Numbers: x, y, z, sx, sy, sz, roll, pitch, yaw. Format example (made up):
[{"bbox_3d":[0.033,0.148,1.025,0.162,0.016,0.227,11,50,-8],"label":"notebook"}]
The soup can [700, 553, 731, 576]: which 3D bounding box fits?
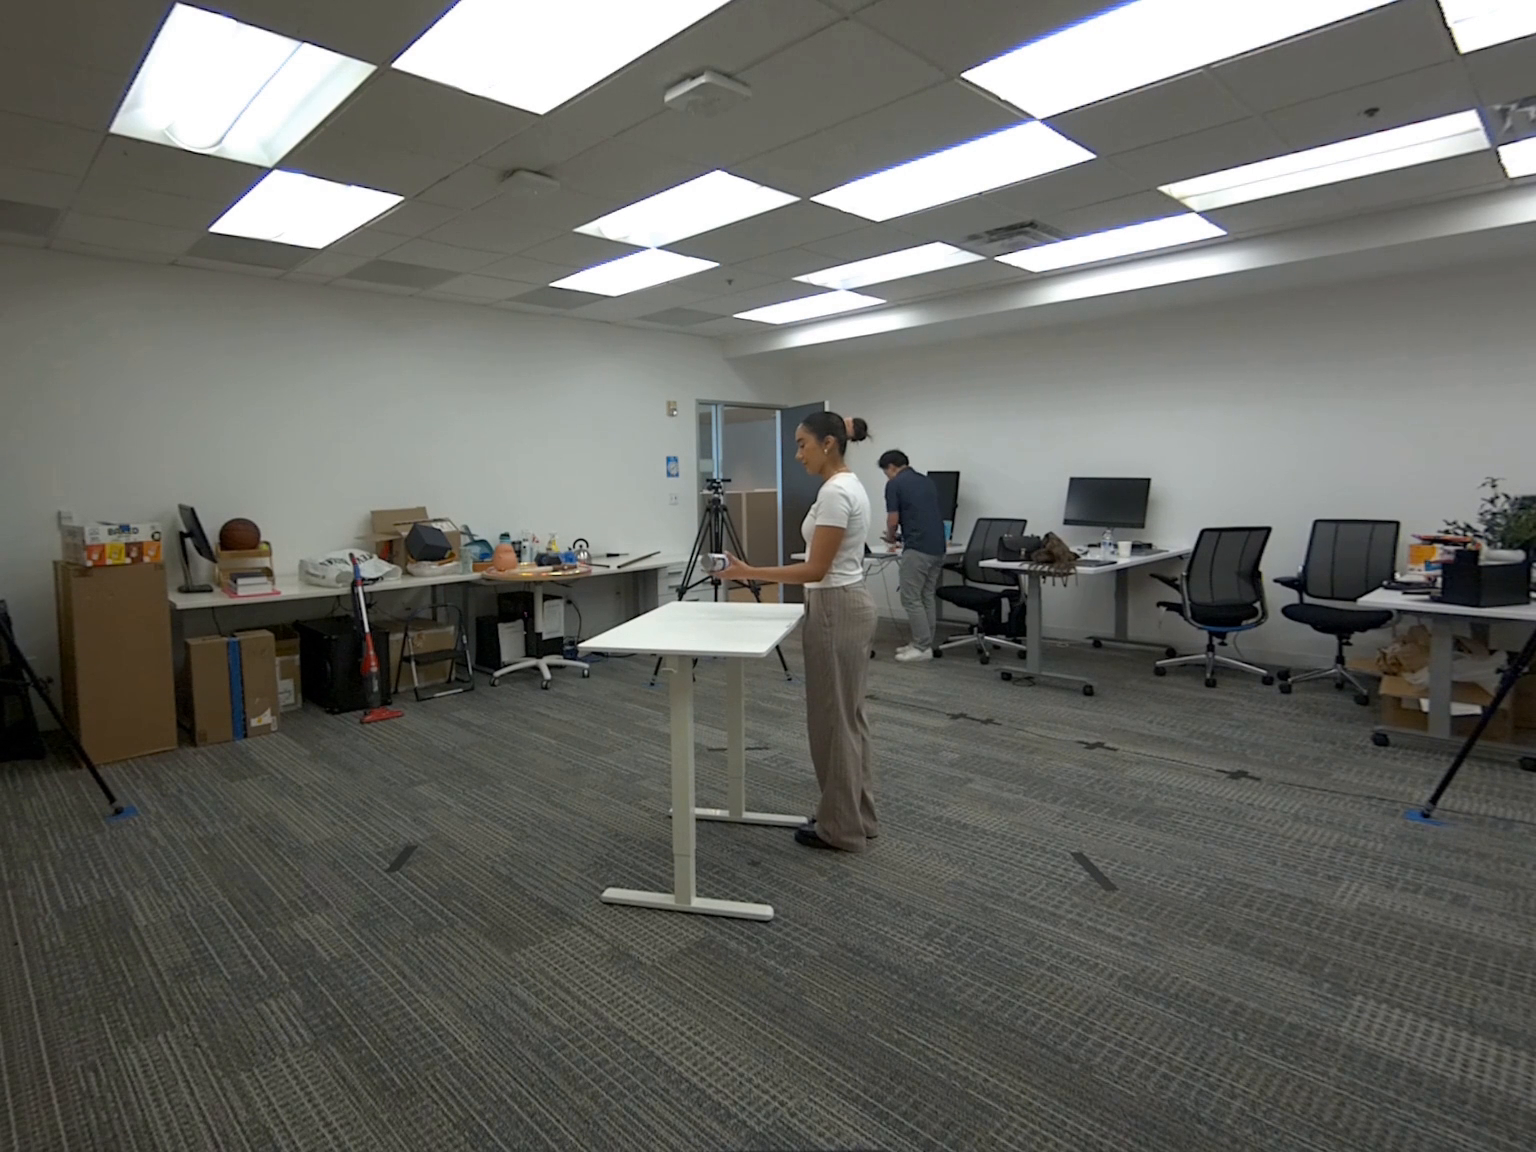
[{"bbox_3d":[-0.176,-0.050,3.127,0.118,0.067,0.069,3,2,-33],"label":"soup can"}]
